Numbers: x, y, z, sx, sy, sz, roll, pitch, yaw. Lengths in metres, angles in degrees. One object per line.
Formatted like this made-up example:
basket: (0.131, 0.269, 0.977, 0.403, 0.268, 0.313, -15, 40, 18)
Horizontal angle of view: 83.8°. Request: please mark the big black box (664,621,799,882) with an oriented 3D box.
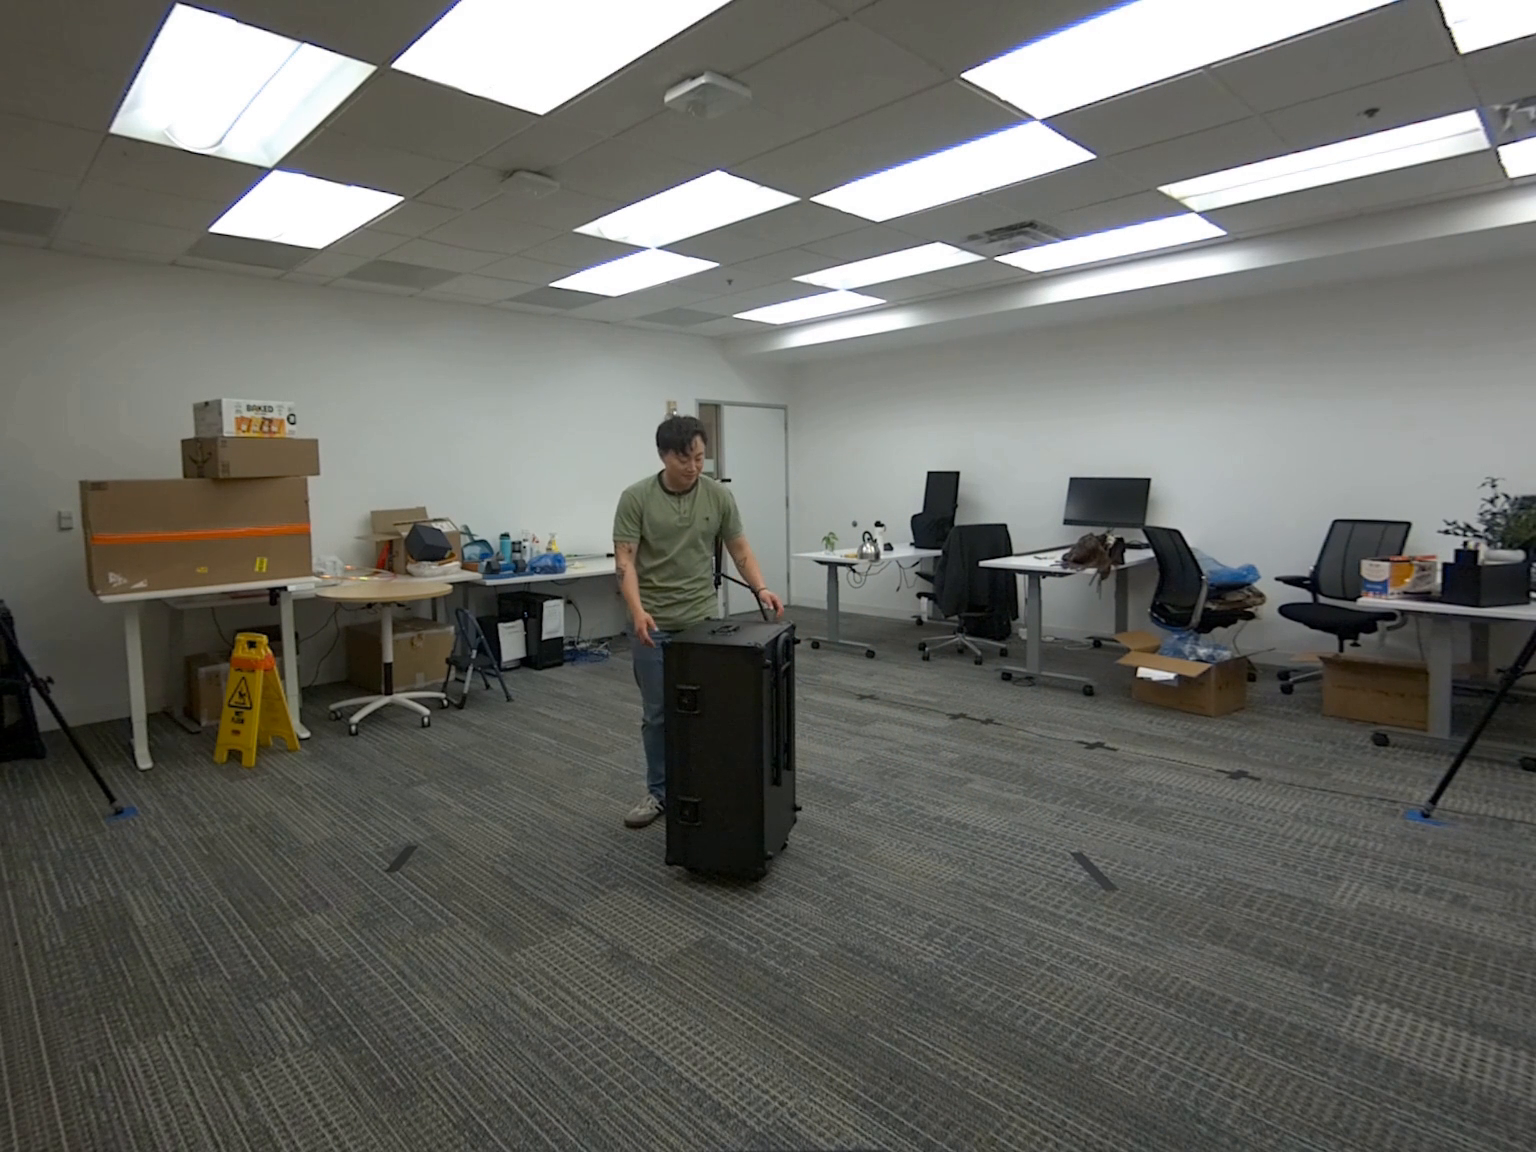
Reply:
big black box: (-0.108, 0.623, 3.097, 0.403, 0.858, 0.515, 1, 5, 16)
